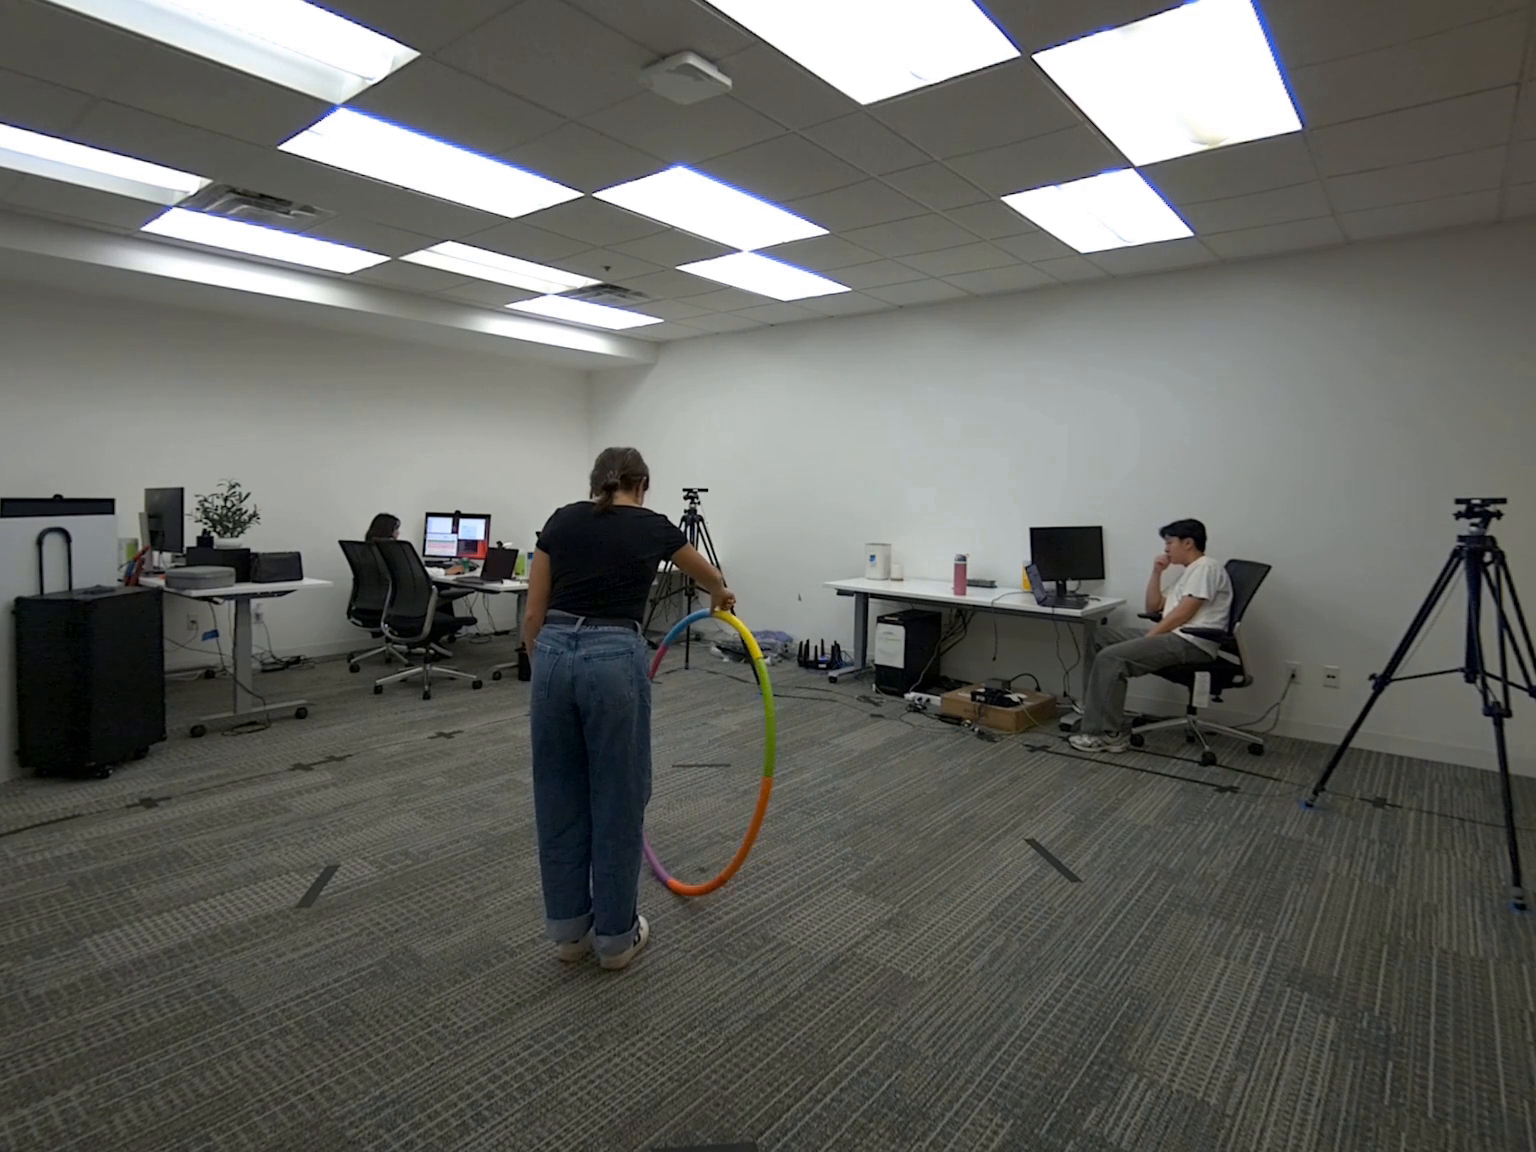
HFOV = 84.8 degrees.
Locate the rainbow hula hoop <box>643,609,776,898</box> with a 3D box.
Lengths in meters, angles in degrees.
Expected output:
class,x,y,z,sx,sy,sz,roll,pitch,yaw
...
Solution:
class,x,y,z,sx,sy,sz,roll,pitch,yaw
rainbow hula hoop,-0.267,0.596,3.018,0.034,0.980,1.009,12,-2,-32
